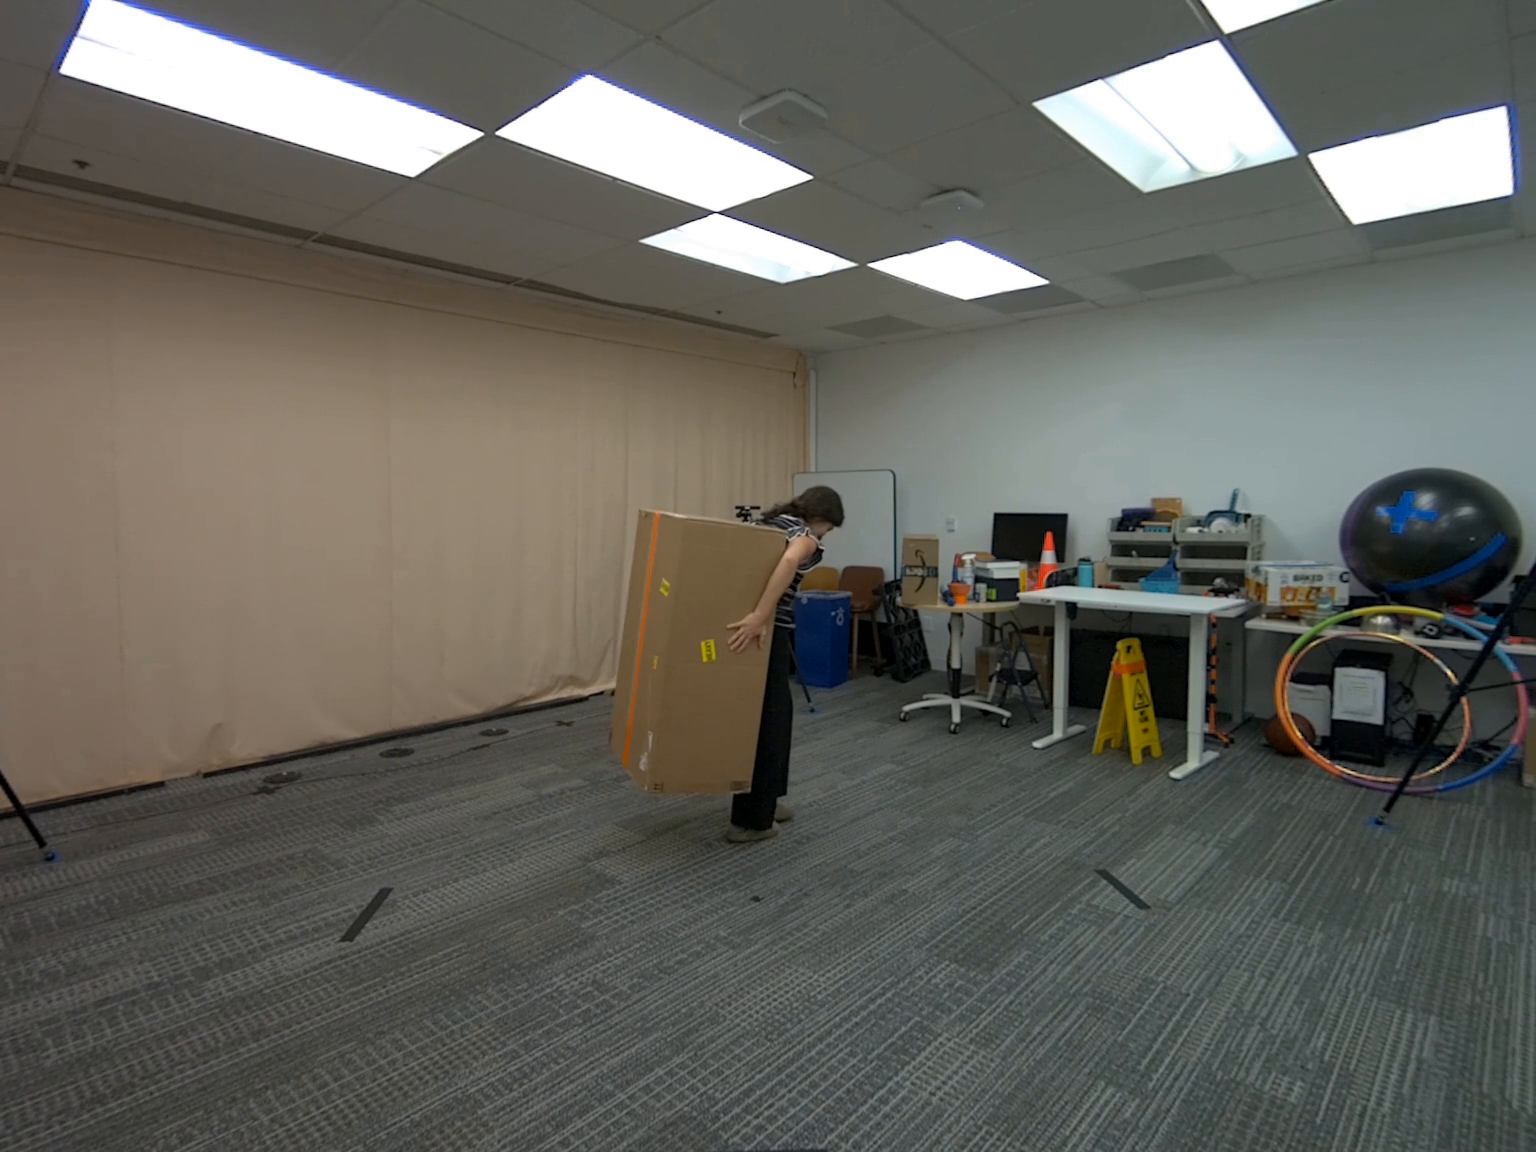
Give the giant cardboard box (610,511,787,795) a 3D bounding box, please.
[{"bbox_3d":[-0.310,0.281,3.391,0.416,1.024,0.593,7,3,-24],"label":"giant cardboard box"}]
